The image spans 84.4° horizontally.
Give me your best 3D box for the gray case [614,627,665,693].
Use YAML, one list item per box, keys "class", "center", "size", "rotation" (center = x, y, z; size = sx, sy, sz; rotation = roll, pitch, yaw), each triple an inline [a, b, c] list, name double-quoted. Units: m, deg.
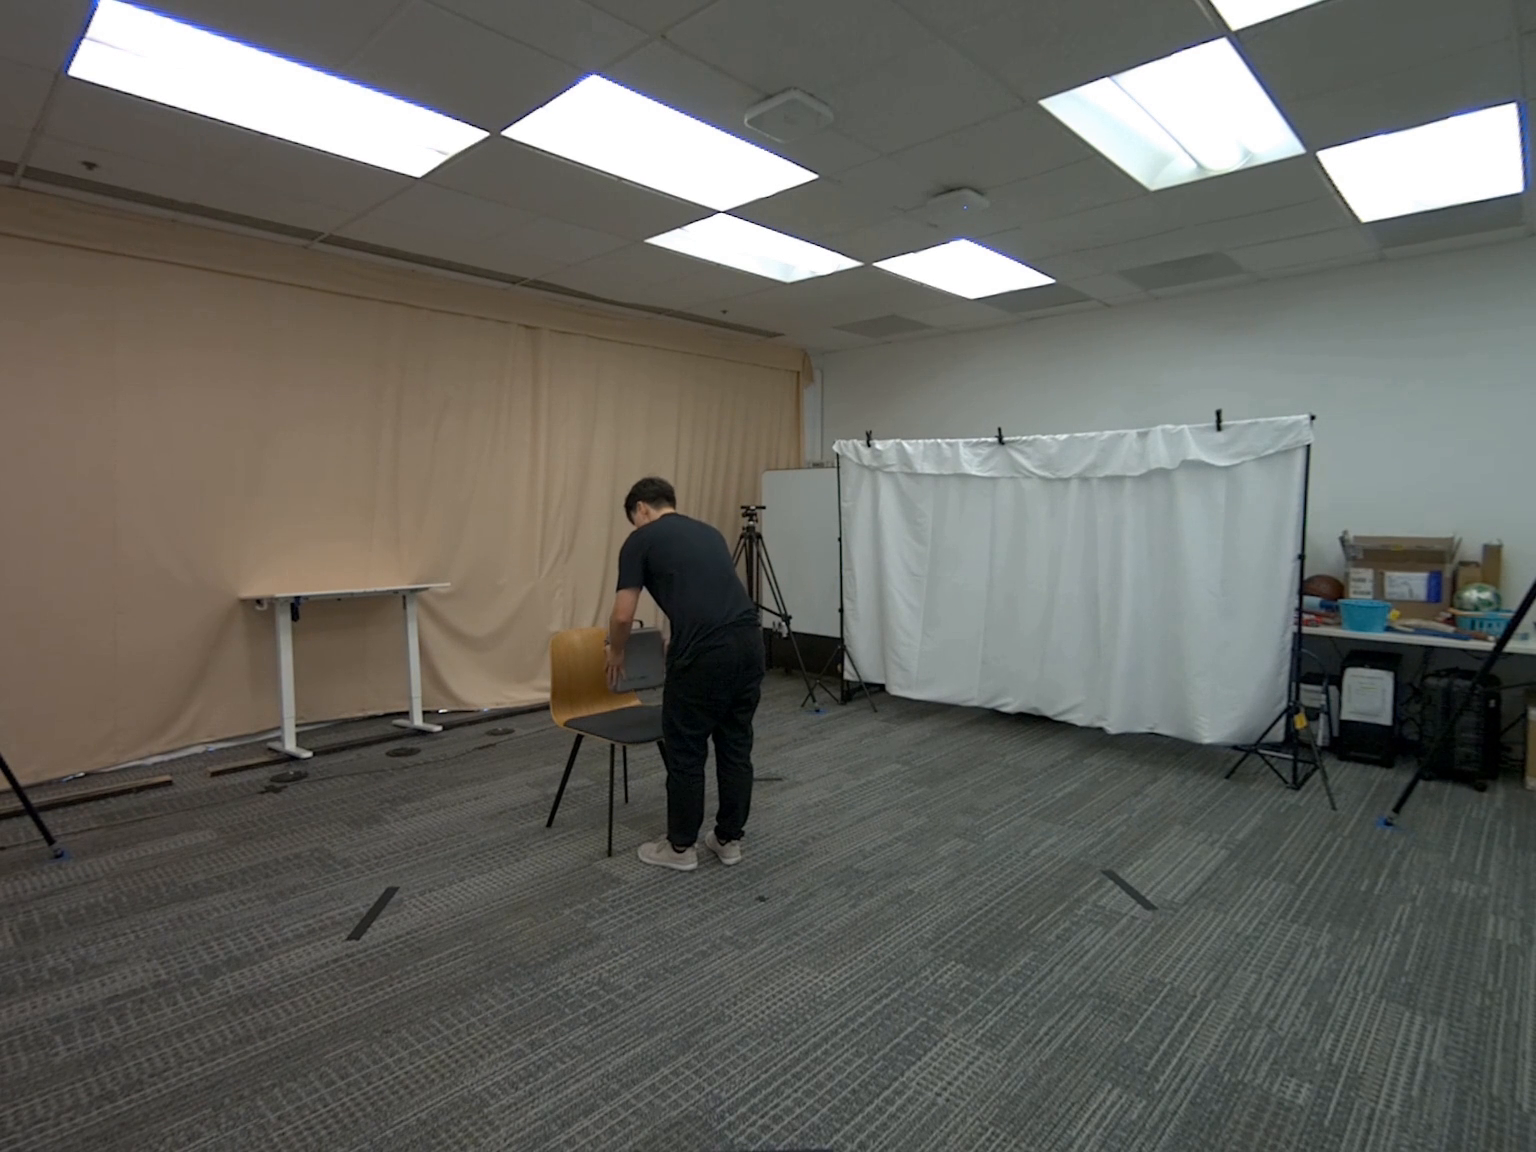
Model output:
- class: "gray case"
  center: [-0.555, 0.353, 3.548]
  size: [0.249, 0.261, 0.107]
  rotation: [-4, -1, -36]
